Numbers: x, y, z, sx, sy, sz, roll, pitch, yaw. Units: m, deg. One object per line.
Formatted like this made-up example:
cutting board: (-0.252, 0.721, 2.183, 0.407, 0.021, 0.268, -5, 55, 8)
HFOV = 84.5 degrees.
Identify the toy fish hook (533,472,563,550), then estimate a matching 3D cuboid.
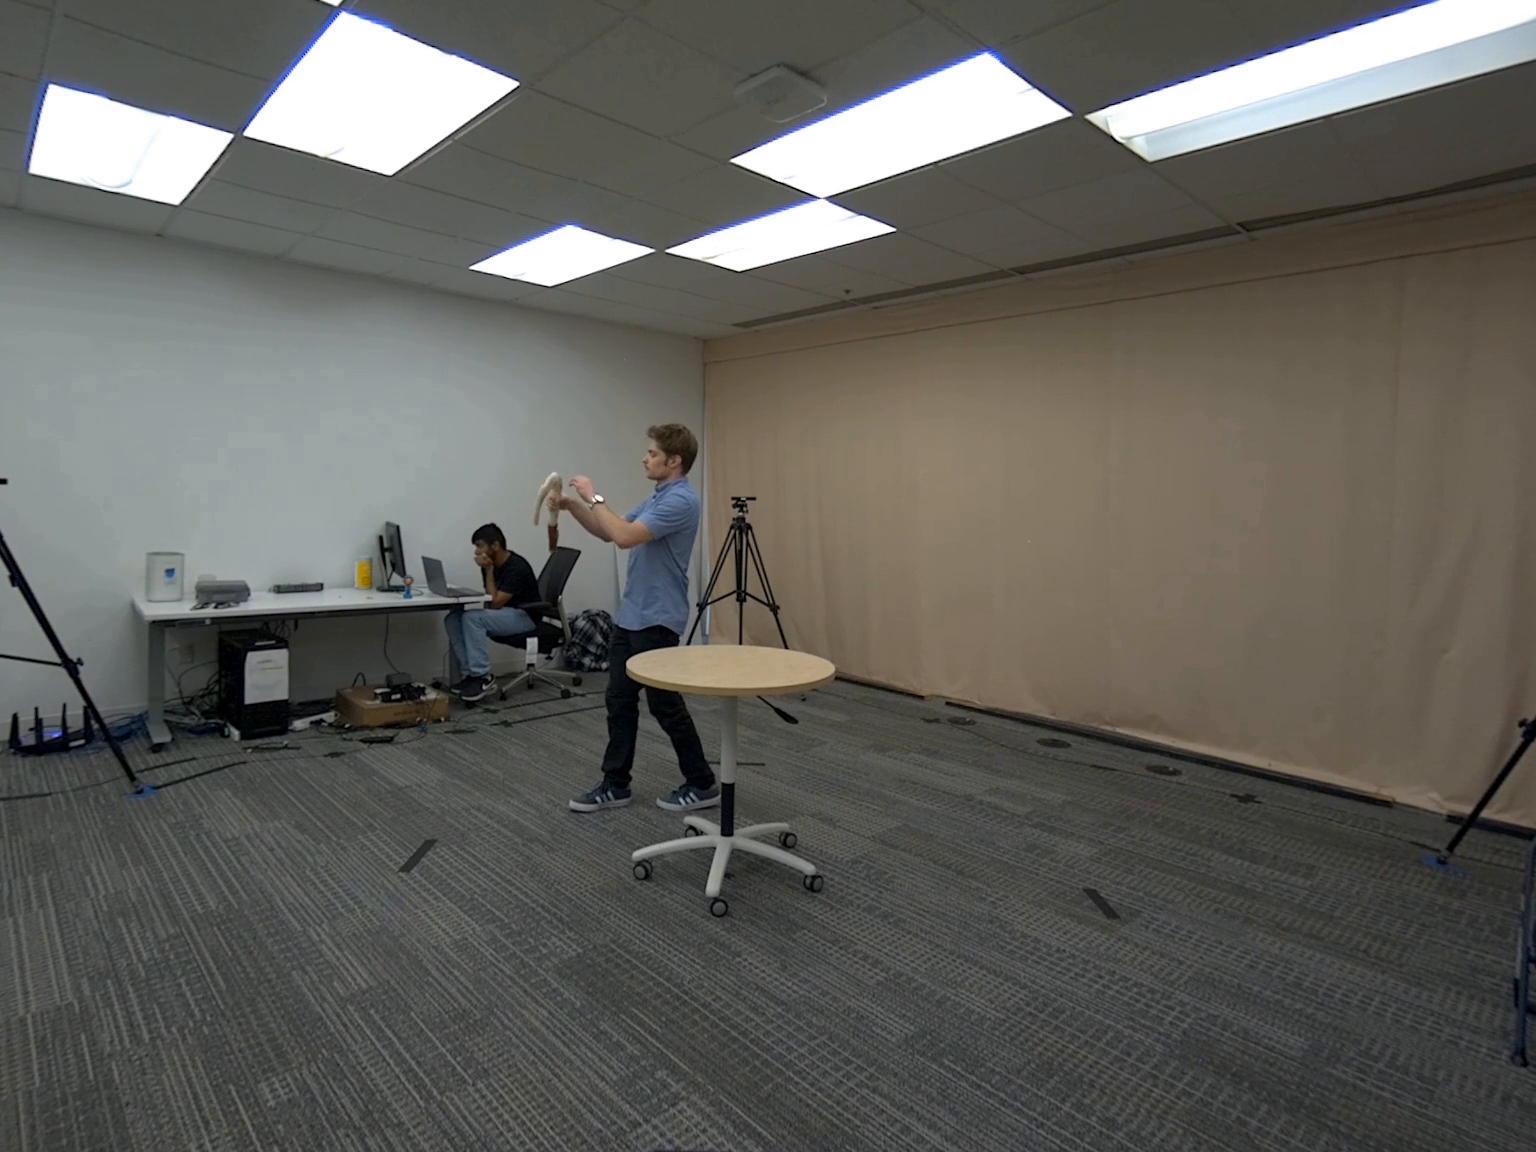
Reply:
toy fish hook: (-0.965, -0.239, 3.677, 0.049, 0.498, 0.226, 22, 49, 7)
